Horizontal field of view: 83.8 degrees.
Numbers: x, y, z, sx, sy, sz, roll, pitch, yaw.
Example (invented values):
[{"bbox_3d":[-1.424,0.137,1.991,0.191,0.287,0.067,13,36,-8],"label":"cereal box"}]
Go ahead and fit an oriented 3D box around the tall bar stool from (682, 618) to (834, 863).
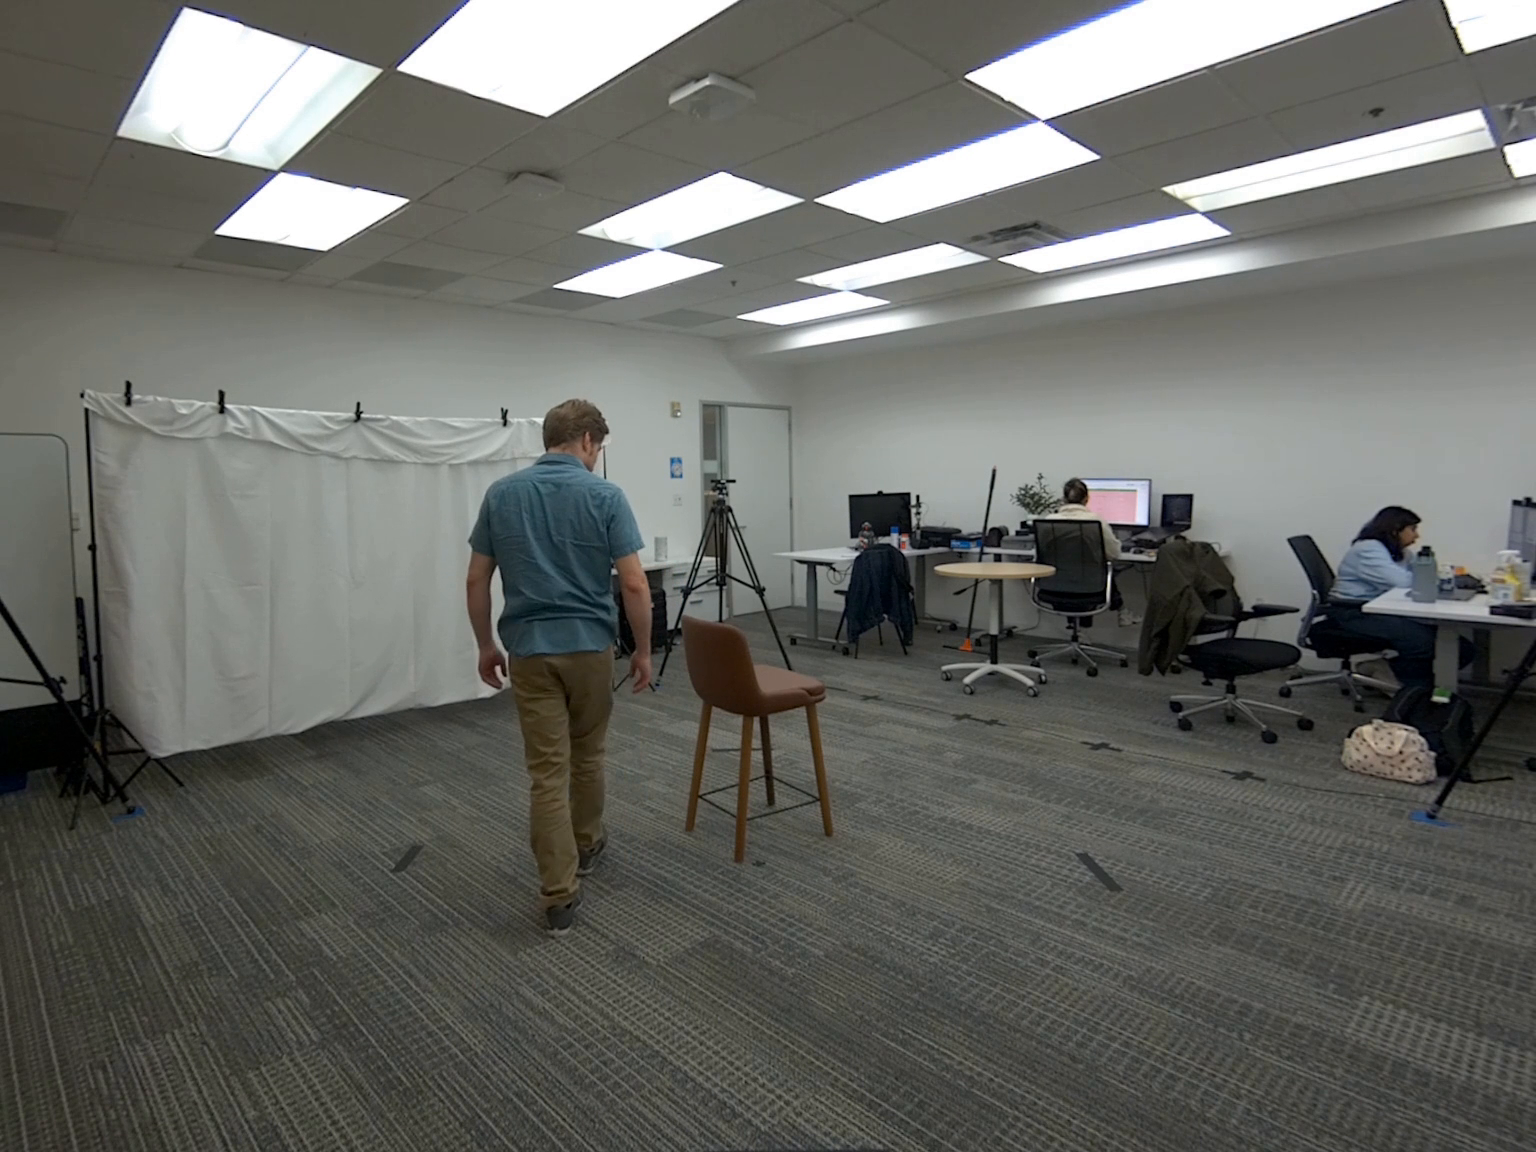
[{"bbox_3d":[-0.052,0.585,3.362,0.456,0.885,0.470,-6,7,-35],"label":"tall bar stool"}]
